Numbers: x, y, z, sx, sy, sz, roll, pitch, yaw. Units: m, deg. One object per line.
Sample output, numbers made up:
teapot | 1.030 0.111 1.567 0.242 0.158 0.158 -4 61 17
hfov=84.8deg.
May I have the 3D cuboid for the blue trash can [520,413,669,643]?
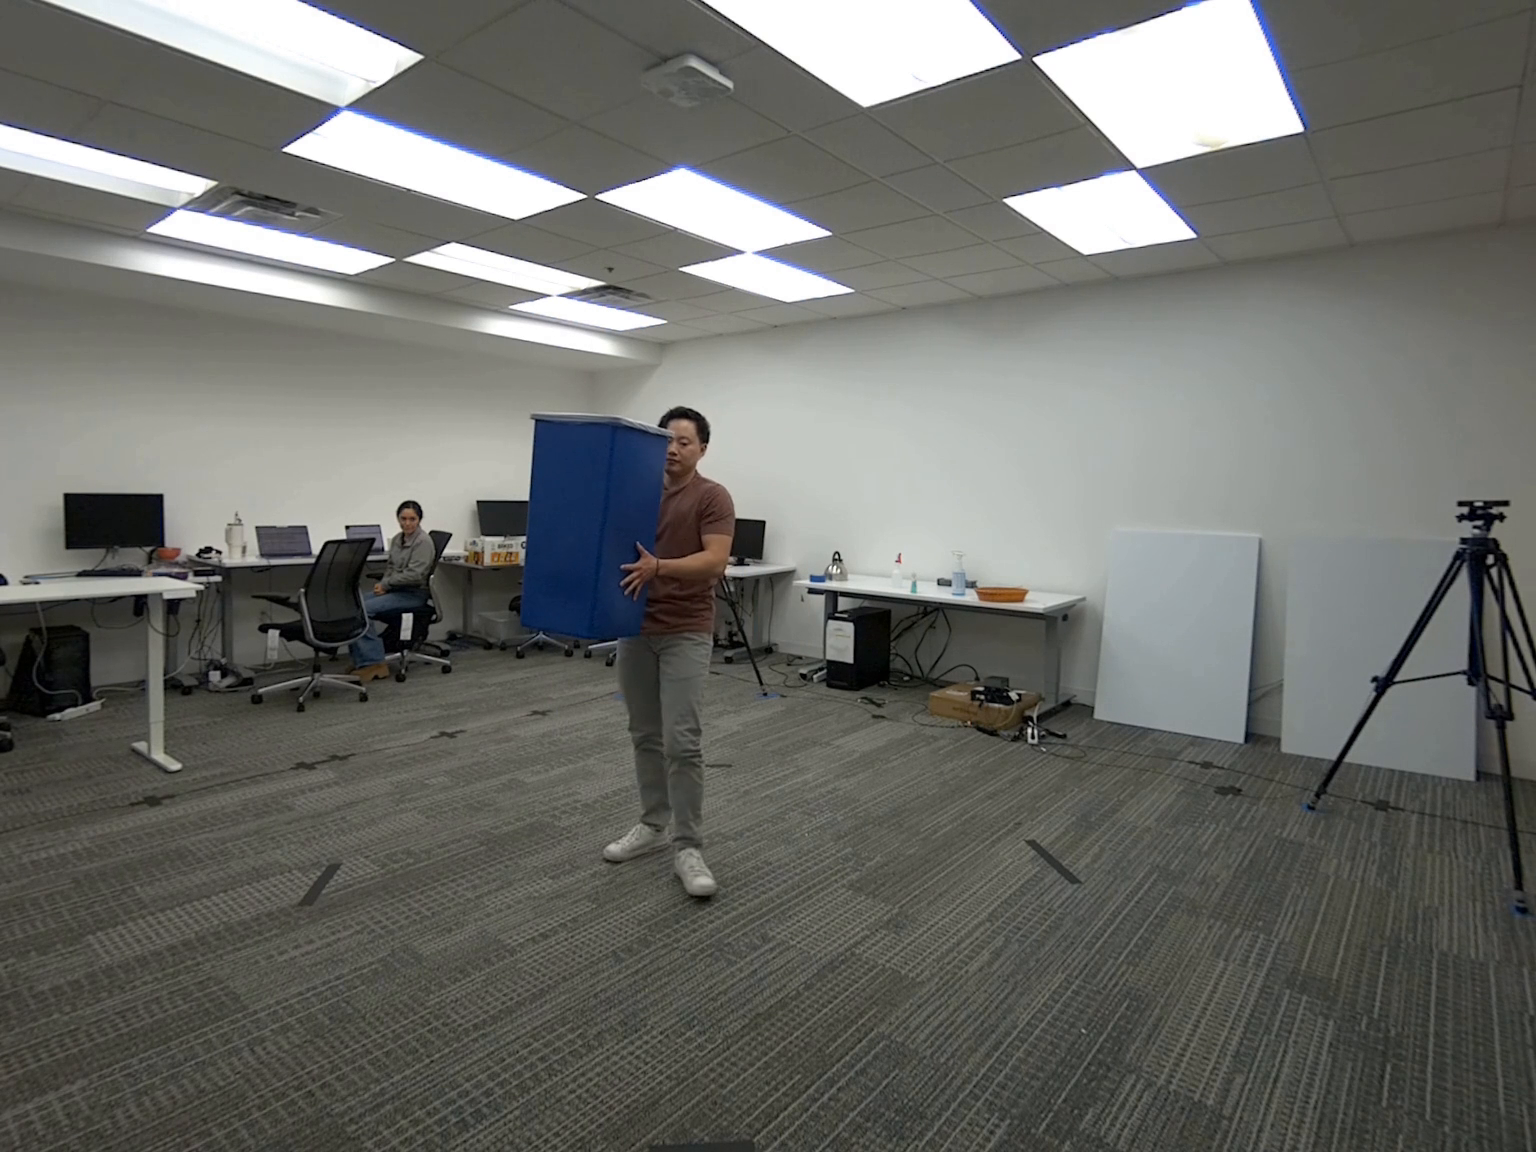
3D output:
blue trash can | -0.604 -0.171 2.873 0.389 0.714 0.363 7 -1 26
